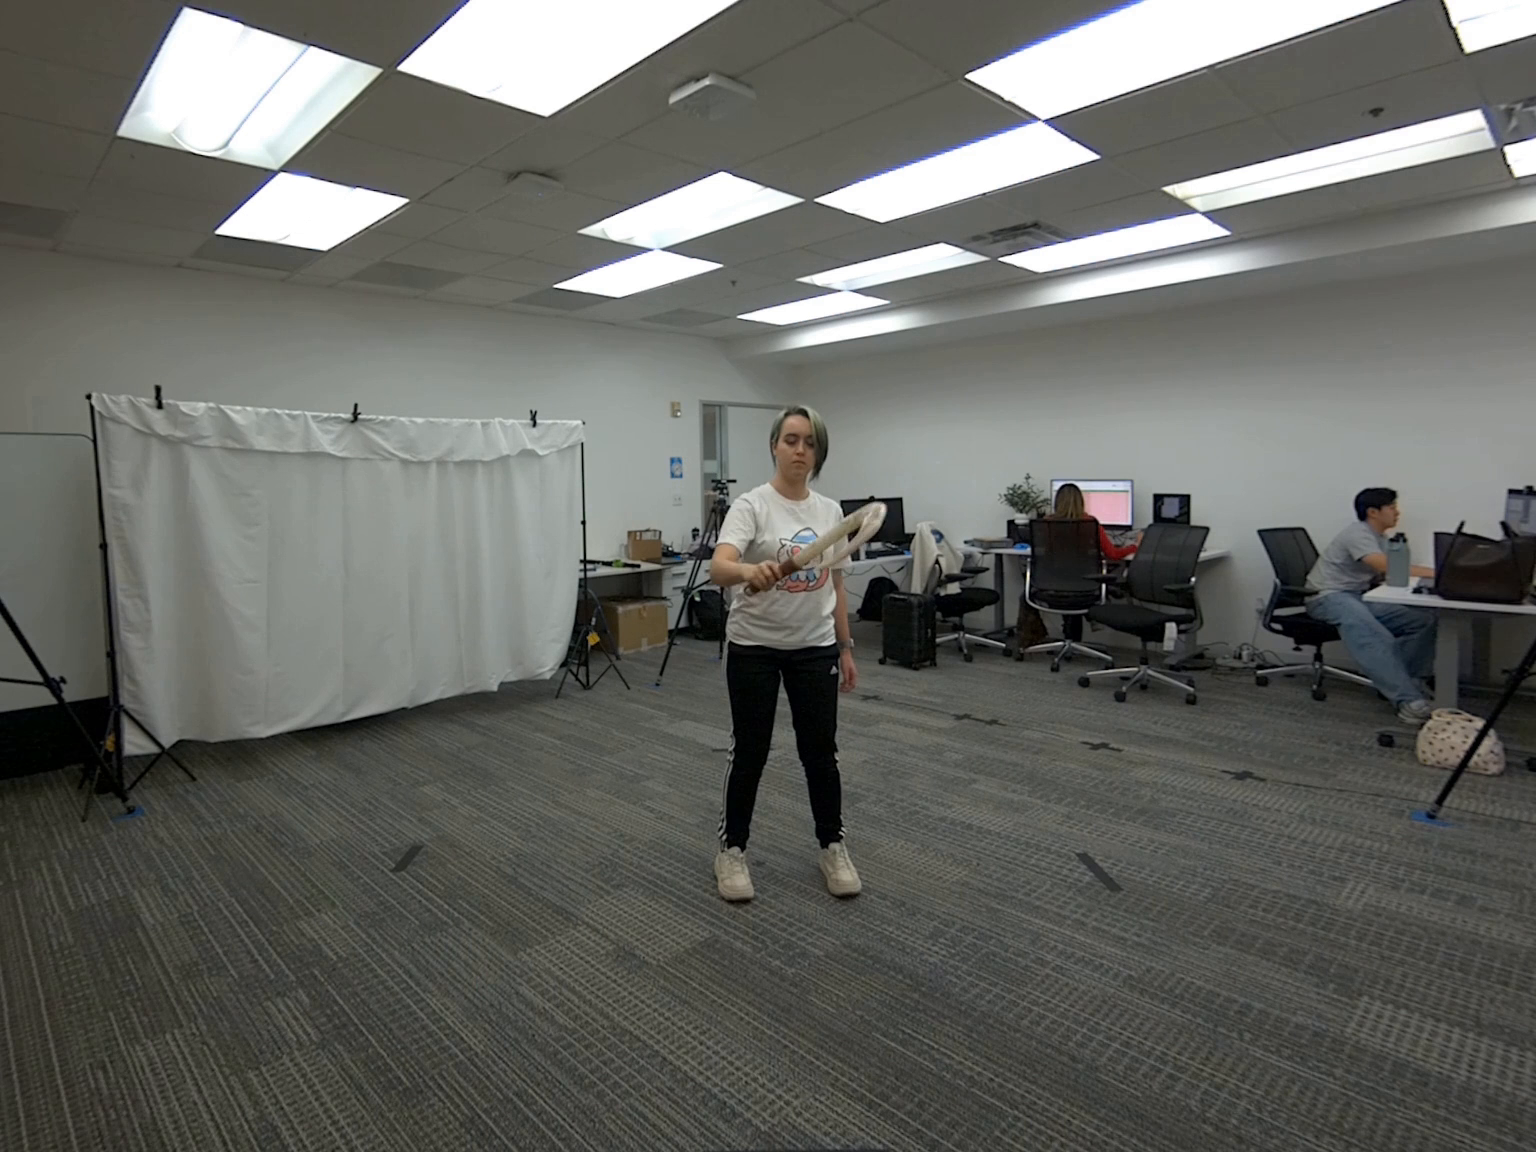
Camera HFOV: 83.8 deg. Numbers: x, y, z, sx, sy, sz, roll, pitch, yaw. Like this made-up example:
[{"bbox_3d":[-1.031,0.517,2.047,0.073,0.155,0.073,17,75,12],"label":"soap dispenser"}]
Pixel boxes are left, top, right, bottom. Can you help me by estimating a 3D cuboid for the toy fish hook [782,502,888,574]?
[{"bbox_3d":[0.099,-0.035,2.247,0.510,0.048,0.225,-33,14,34],"label":"toy fish hook"}]
